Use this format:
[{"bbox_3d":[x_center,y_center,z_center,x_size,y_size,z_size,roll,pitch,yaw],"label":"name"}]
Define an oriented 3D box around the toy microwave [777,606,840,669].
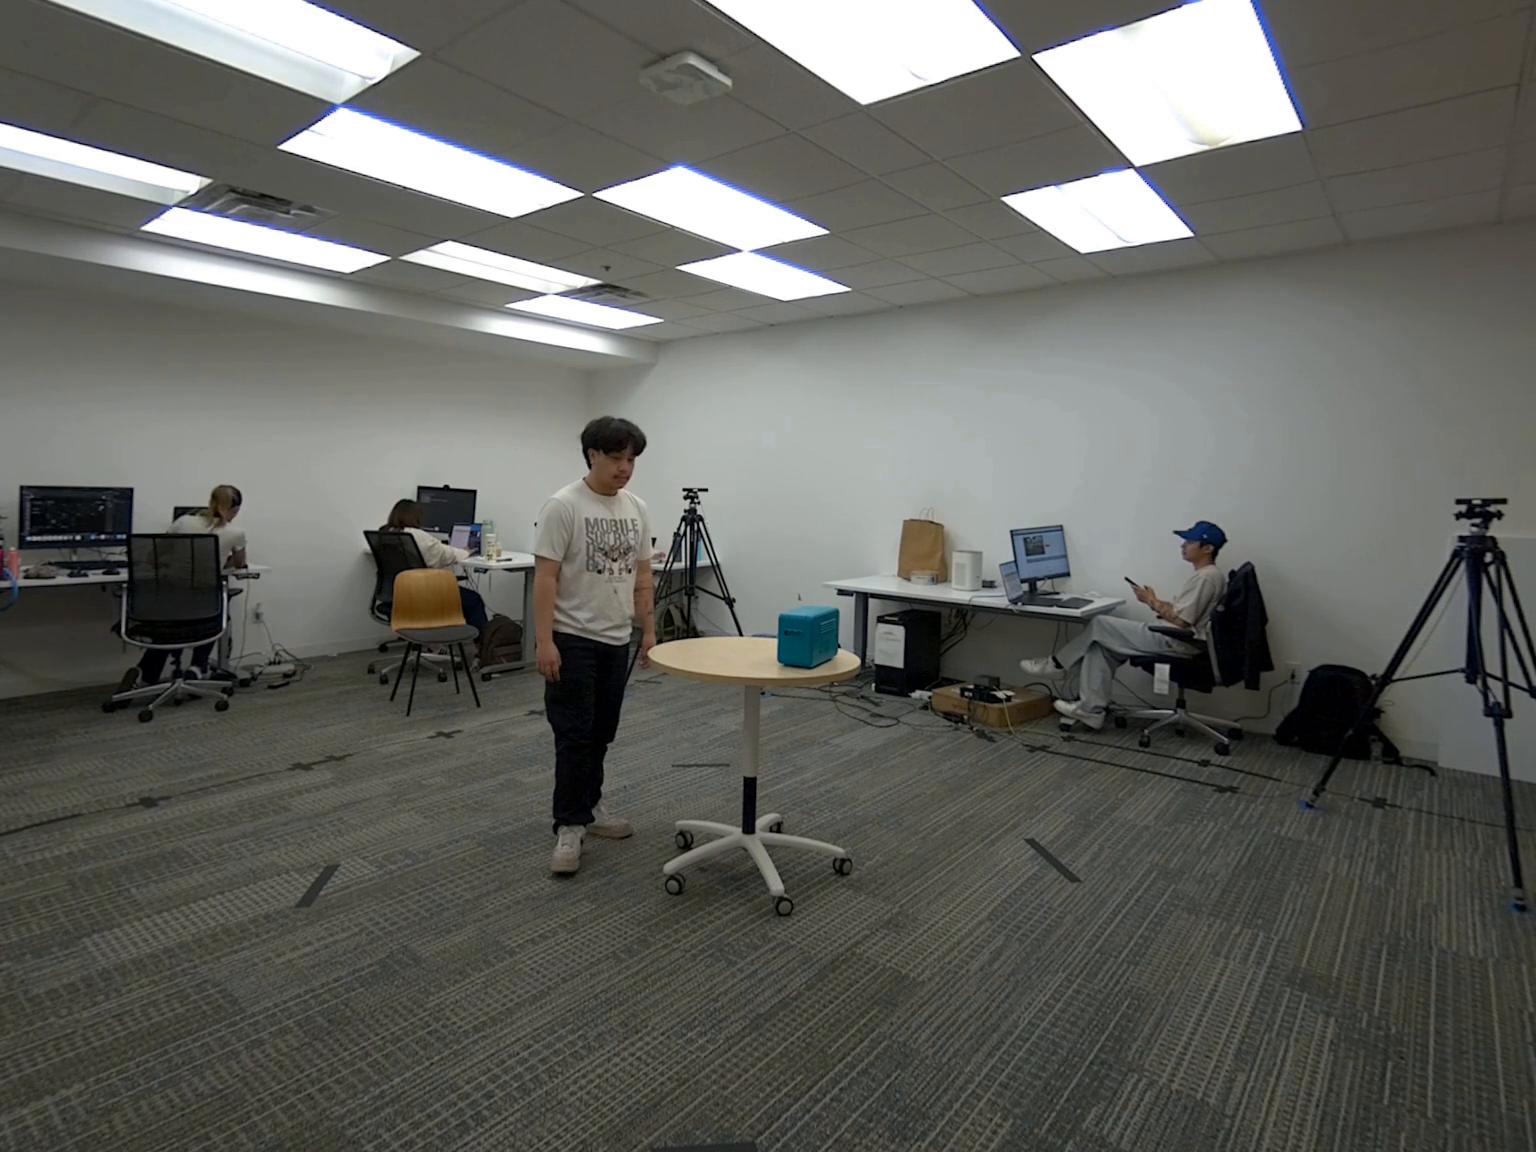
[{"bbox_3d":[0.127,0.206,2.984,0.156,0.183,0.280,3,5,25],"label":"toy microwave"}]
